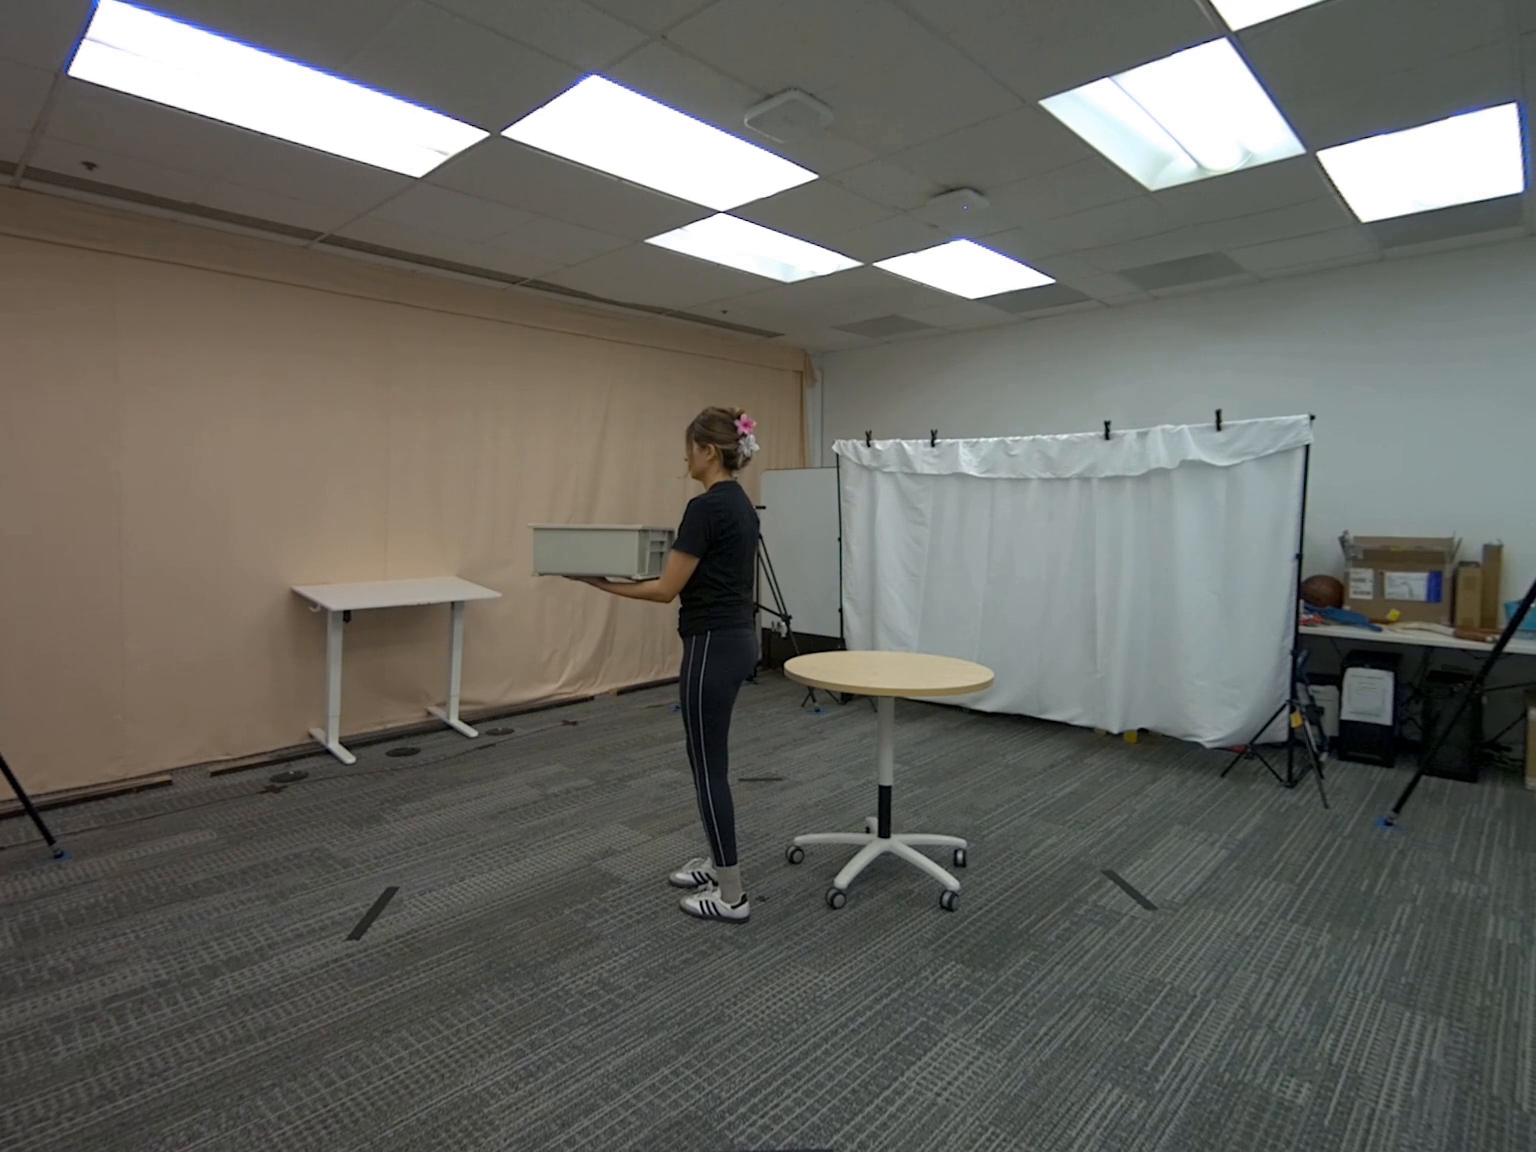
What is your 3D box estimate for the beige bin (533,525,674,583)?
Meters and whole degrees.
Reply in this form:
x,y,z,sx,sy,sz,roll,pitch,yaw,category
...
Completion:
x,y,z,sx,sy,sz,roll,pitch,yaw,category
-0.580,-0.088,3.023,0.429,0.189,0.372,2,2,14,beige bin
